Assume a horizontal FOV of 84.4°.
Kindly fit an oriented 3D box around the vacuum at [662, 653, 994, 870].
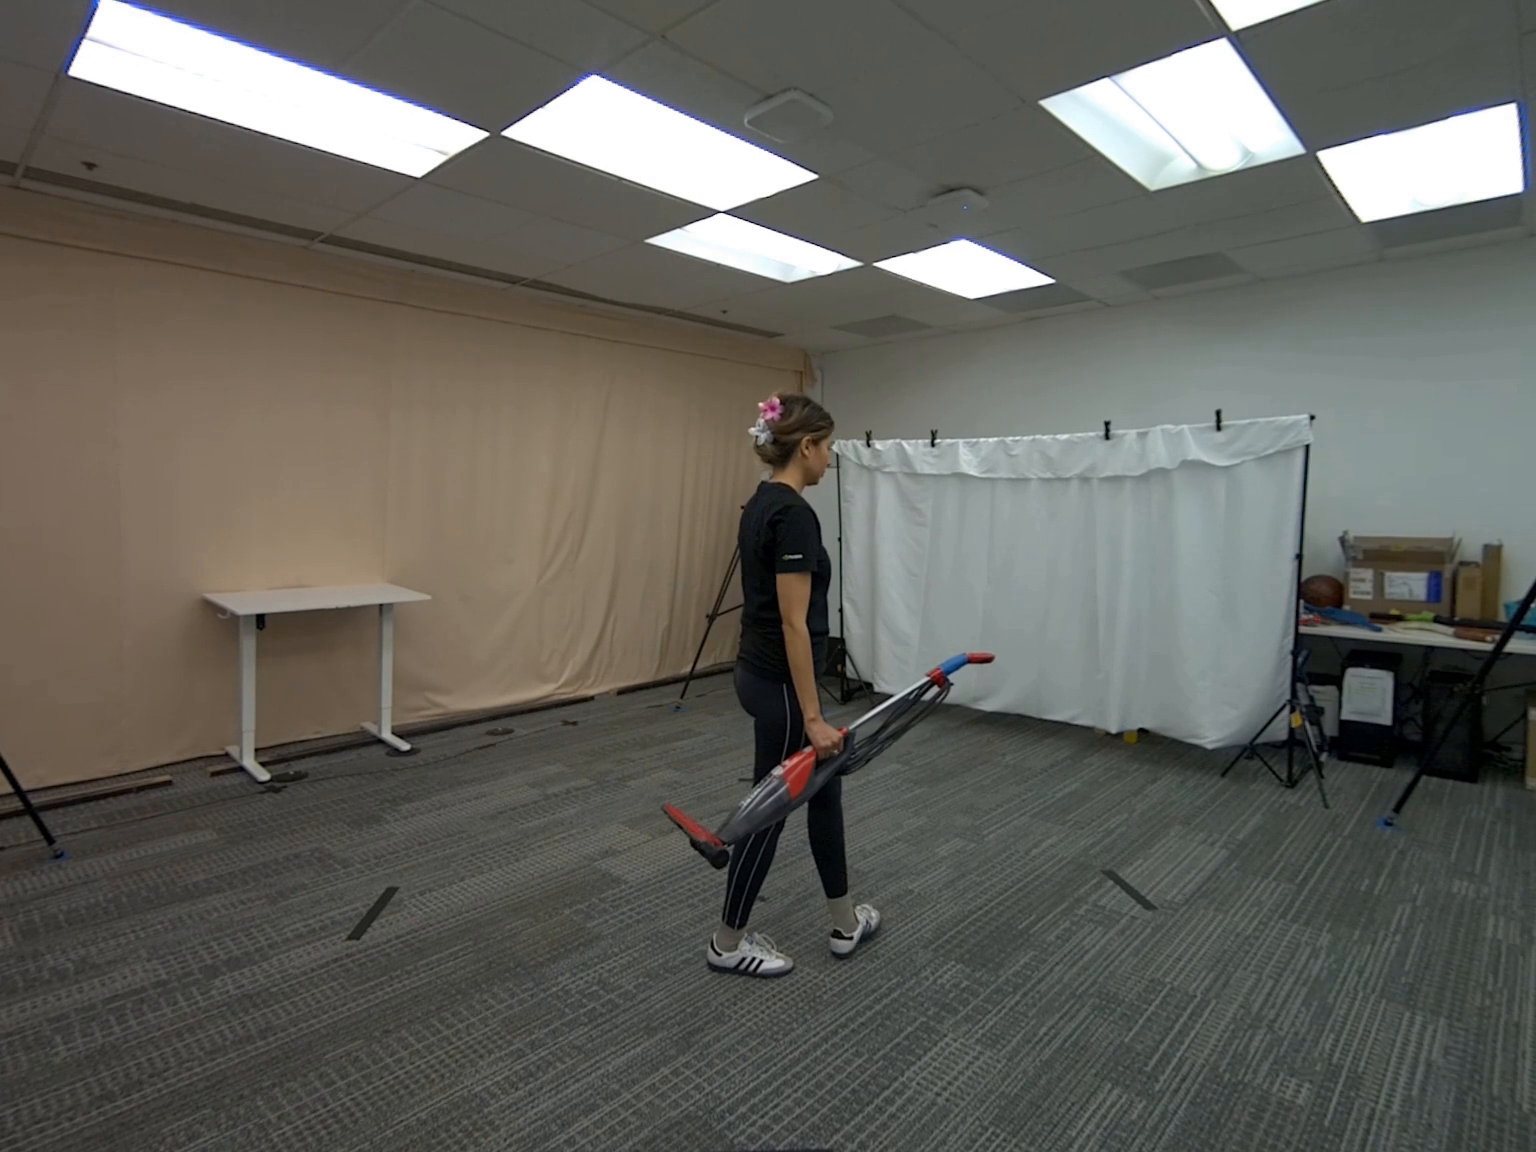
[{"bbox_3d":[0.256,0.470,2.294,1.035,0.142,0.259,-26,14,-20],"label":"vacuum"}]
